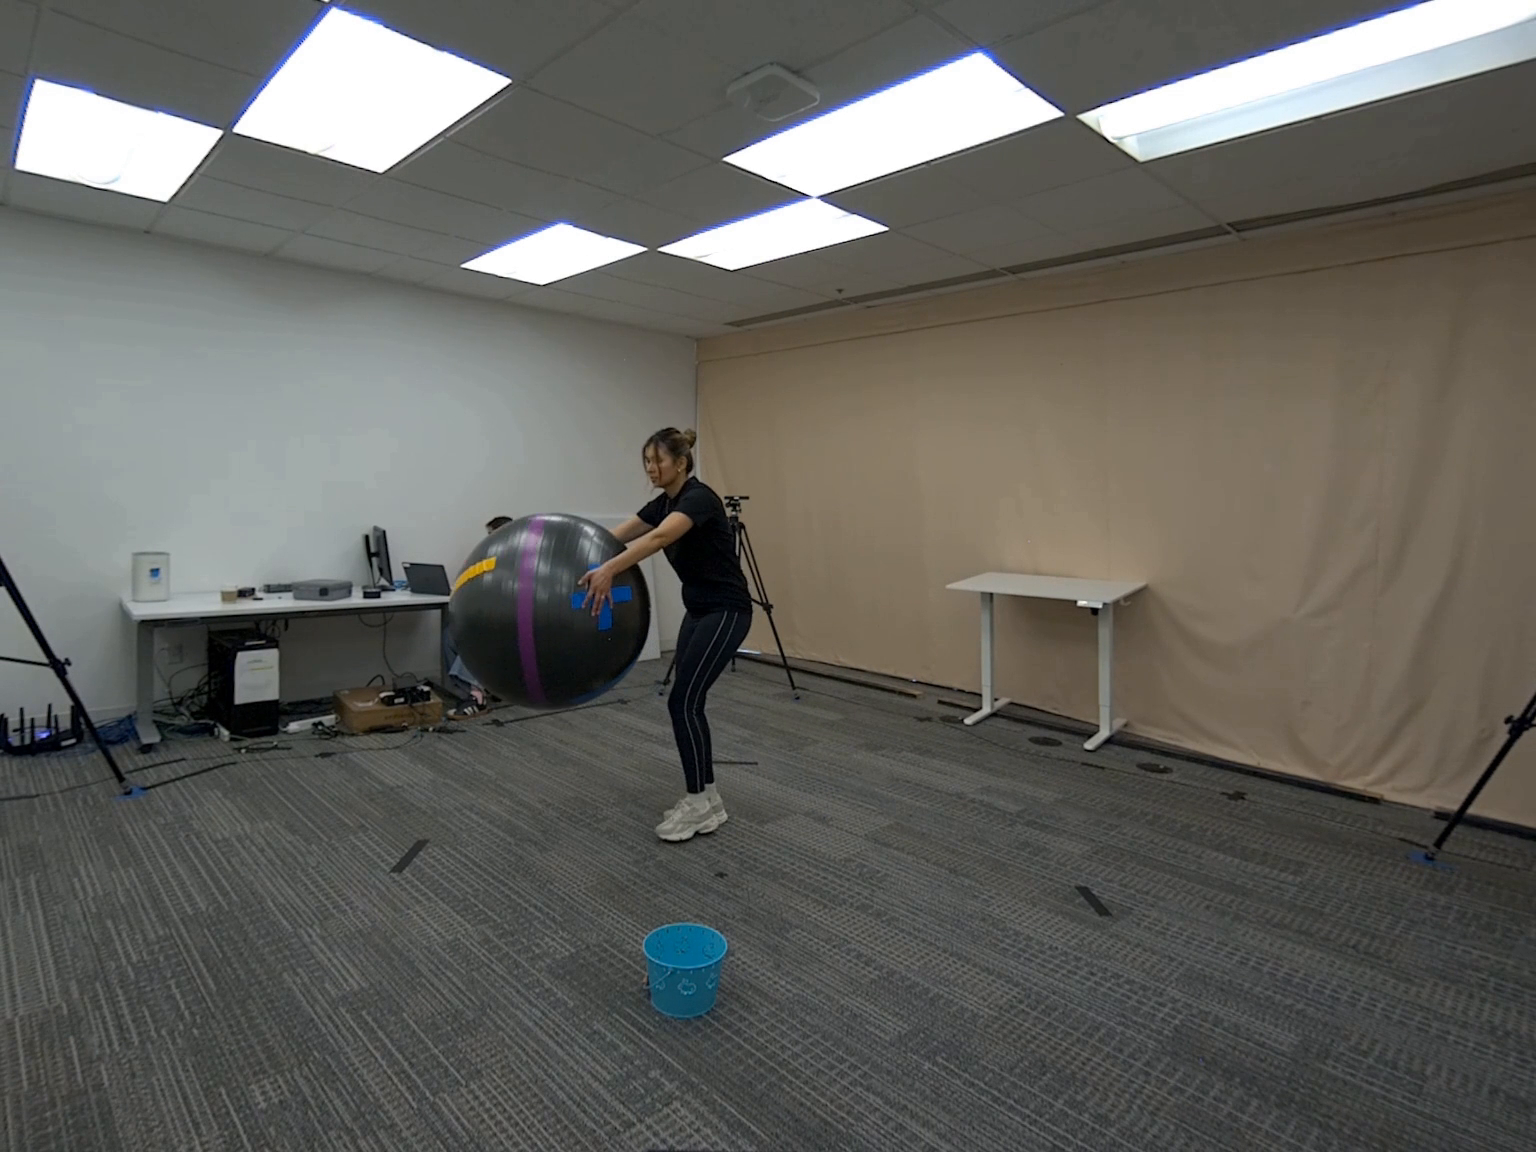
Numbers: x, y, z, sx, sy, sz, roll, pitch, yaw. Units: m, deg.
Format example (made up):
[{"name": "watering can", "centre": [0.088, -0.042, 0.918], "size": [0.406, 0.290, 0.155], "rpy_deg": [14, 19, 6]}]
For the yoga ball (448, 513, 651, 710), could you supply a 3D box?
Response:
[{"name": "yoga ball", "centre": [-0.843, 0.153, 3.250], "size": [0.757, 0.756, 0.761], "rpy_deg": [1, 4, -1]}]
